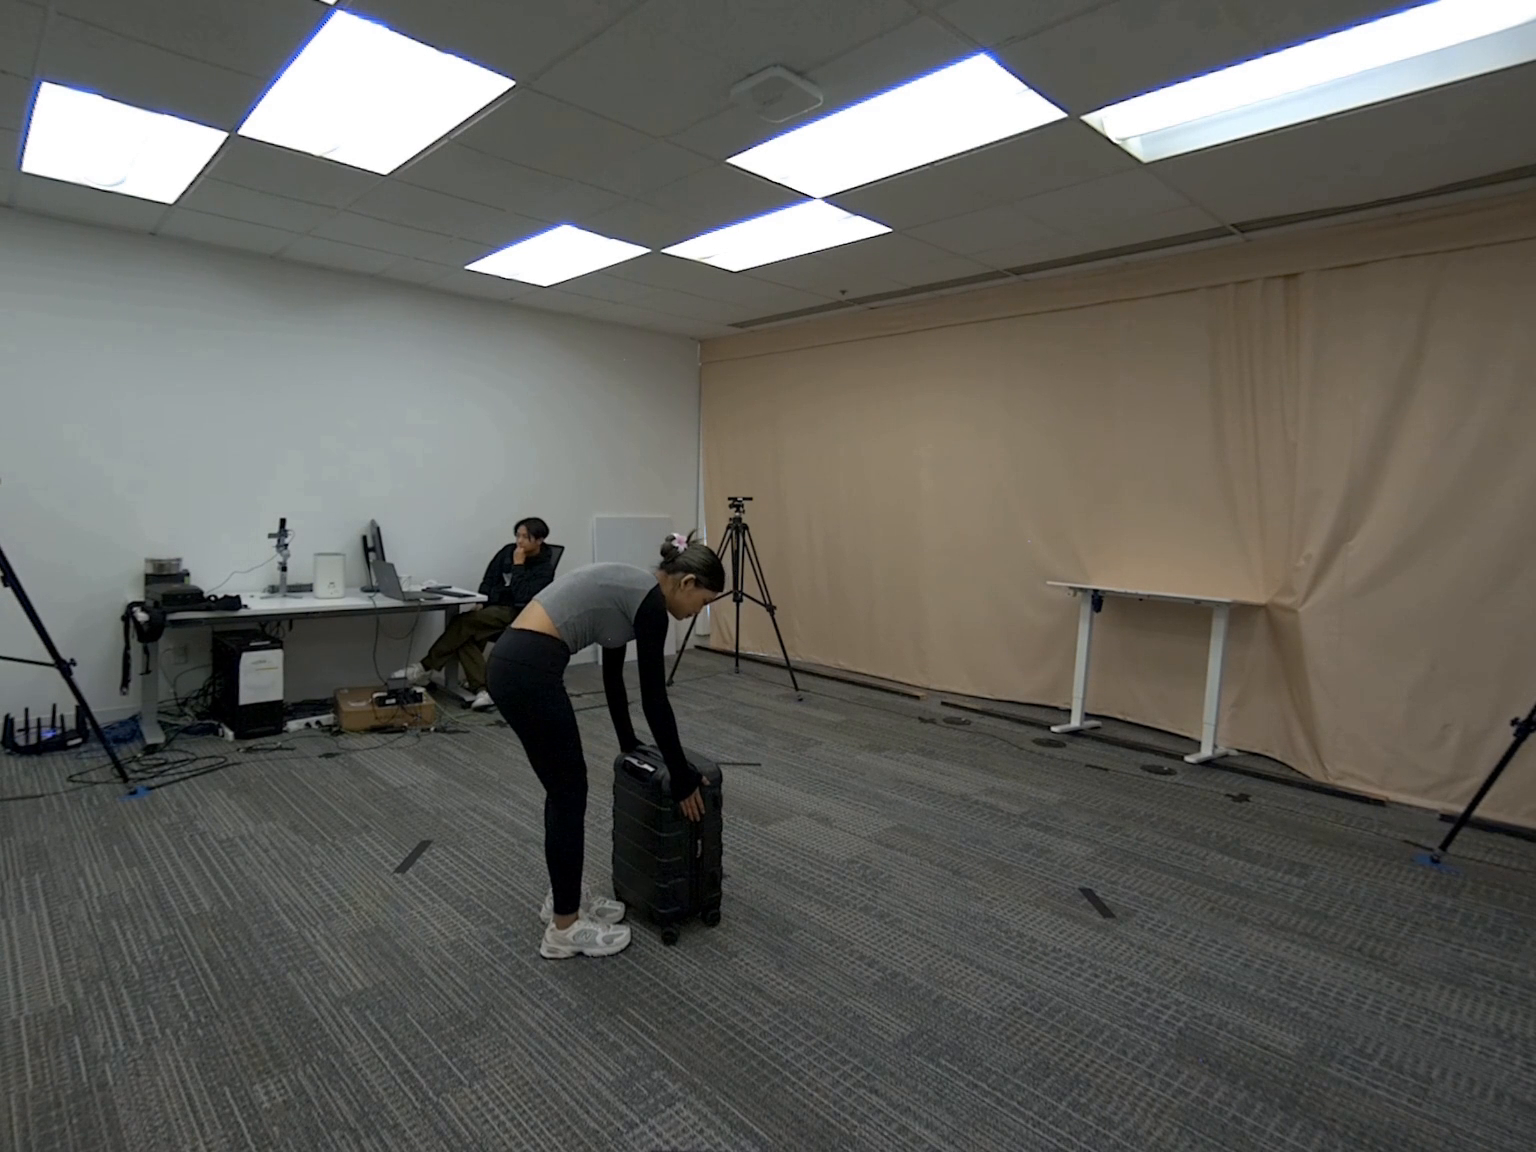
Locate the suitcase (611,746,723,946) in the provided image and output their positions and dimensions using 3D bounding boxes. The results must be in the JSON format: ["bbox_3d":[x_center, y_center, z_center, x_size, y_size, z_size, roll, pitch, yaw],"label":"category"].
[{"bbox_3d":[-0.344,0.858,2.801,0.243,0.548,0.384,-1,3,-38],"label":"suitcase"}]
